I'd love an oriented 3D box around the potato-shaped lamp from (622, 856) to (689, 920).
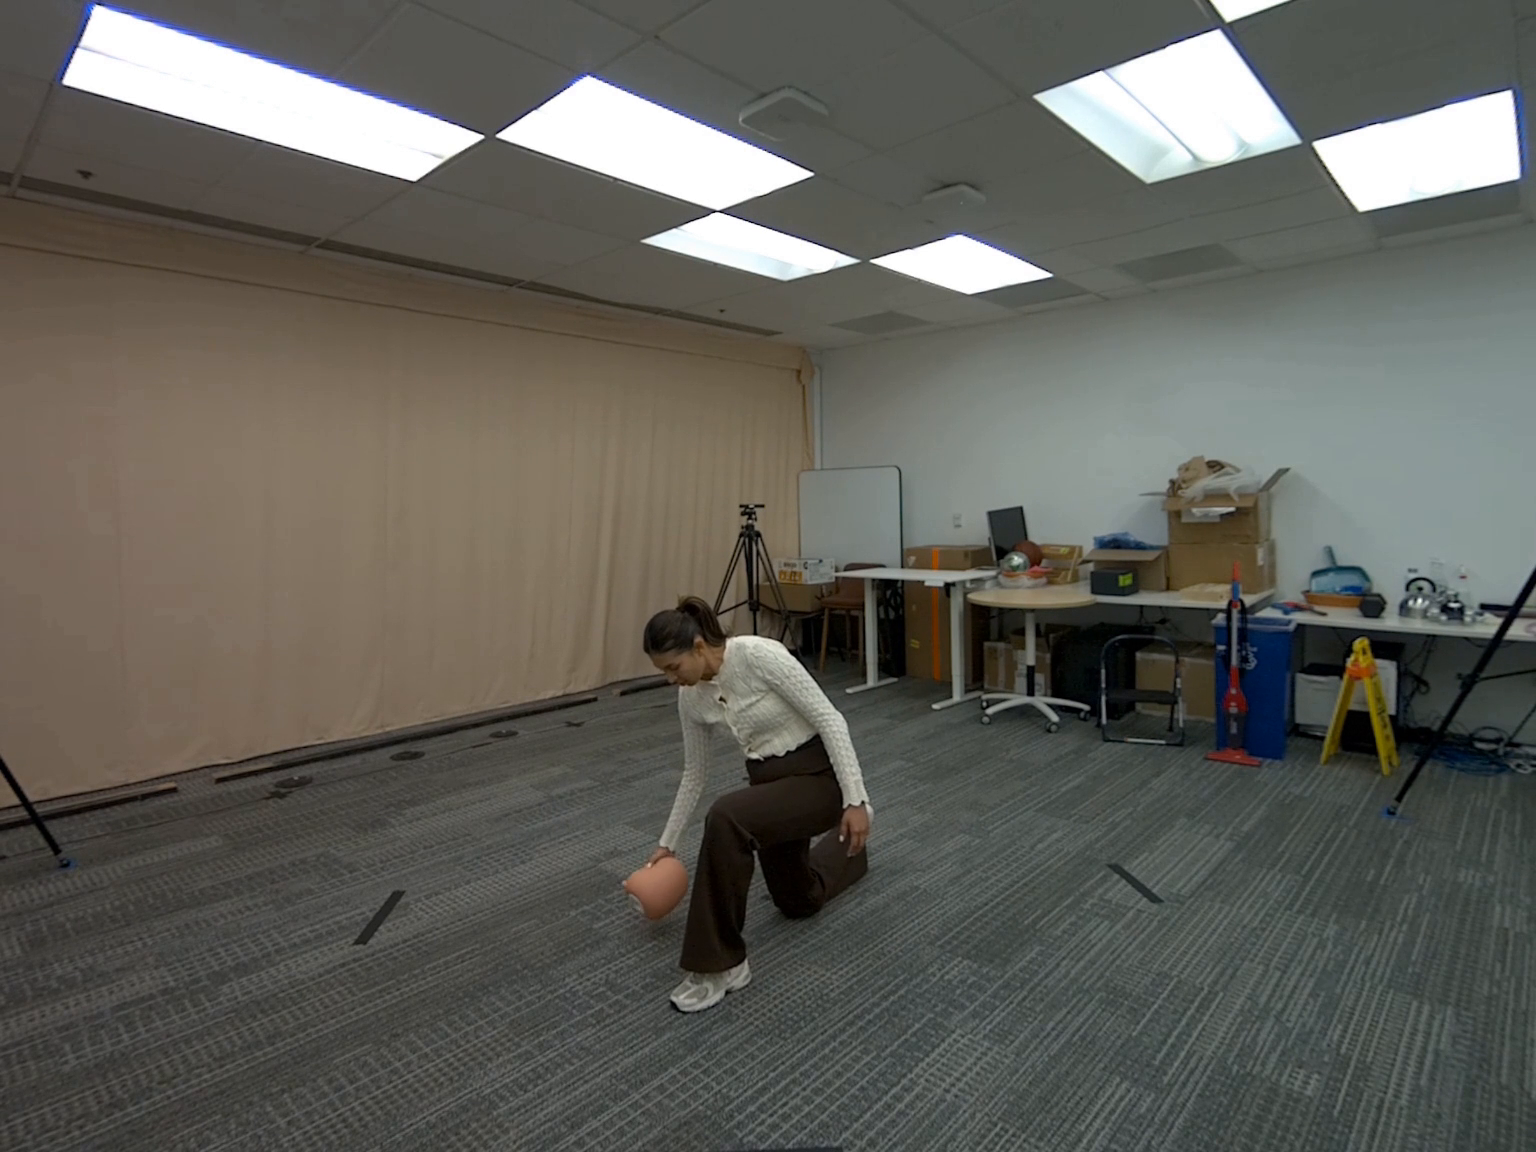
[{"bbox_3d":[-0.355,1.001,2.755,0.177,0.161,0.195,18,41,33],"label":"potato-shaped lamp"}]
